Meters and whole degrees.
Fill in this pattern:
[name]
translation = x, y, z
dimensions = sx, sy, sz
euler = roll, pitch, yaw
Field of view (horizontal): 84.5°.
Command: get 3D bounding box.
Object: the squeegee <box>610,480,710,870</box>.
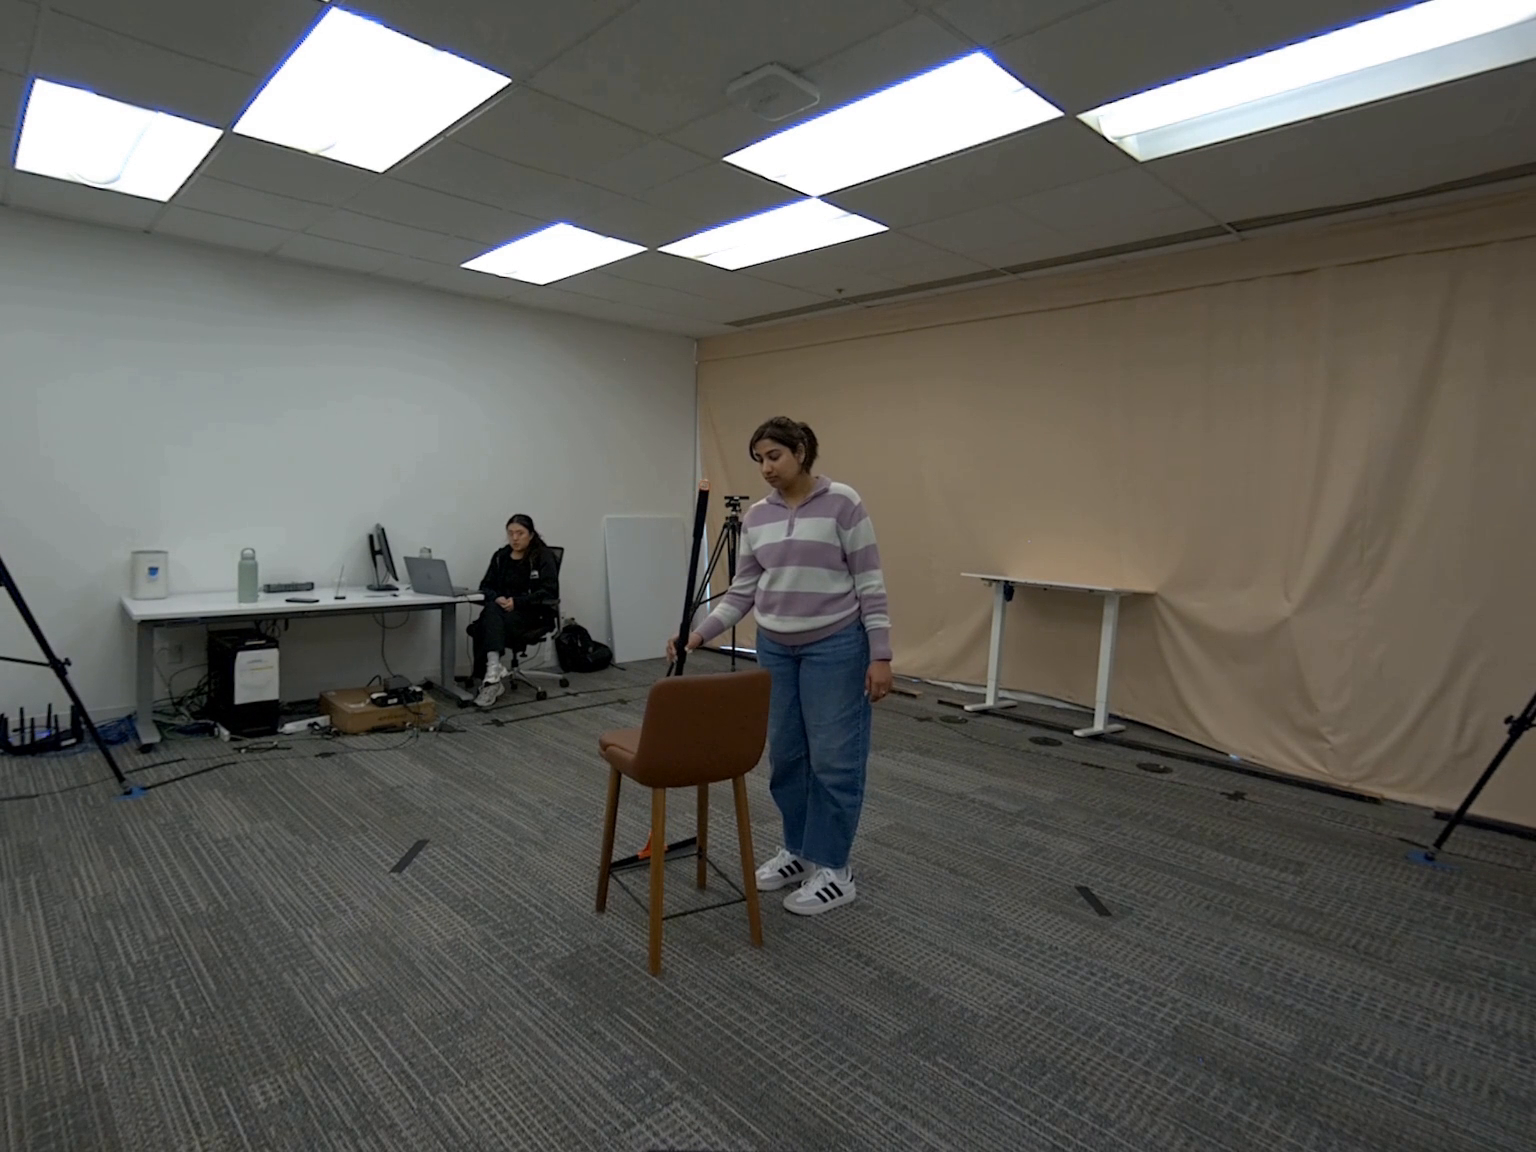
[squeegee]
translation = -0.332, 0.385, 2.871
dimensions = 0.429, 1.516, 0.054
euler = -10, 30, -35
